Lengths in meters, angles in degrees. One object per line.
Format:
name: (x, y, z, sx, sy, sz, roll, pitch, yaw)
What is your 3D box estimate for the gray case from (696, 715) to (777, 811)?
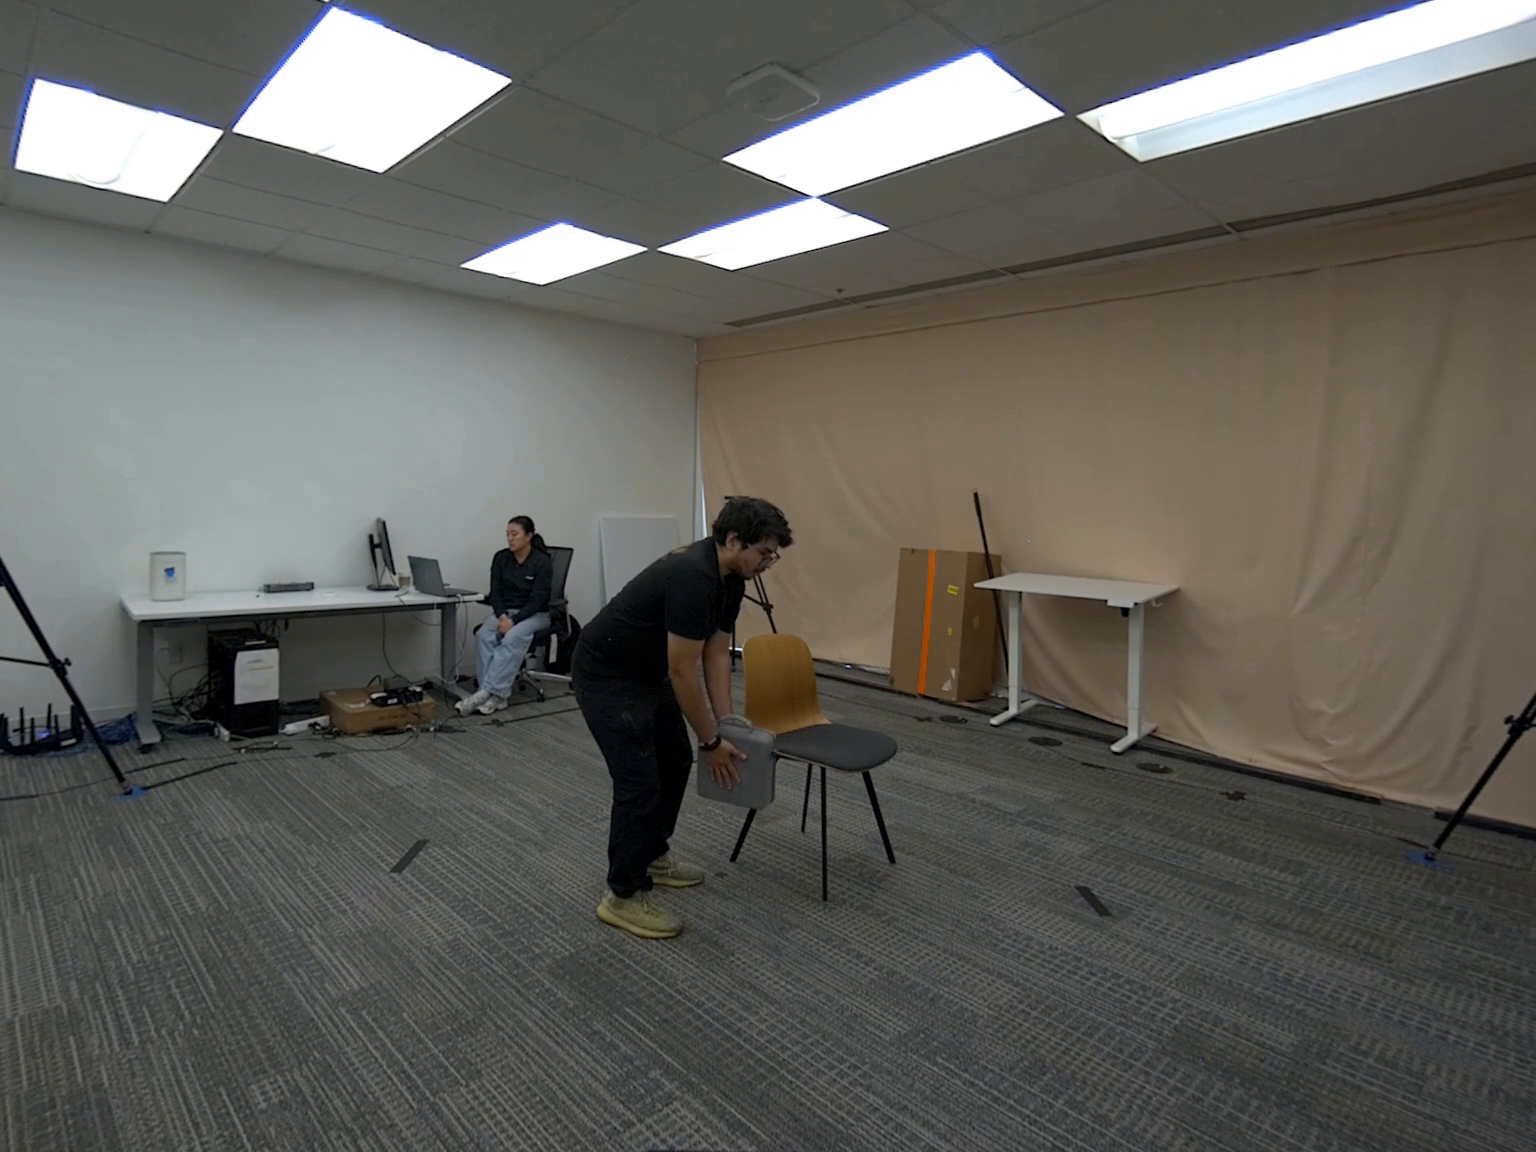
gray case: (-0.109, 0.616, 2.752, 0.261, 0.258, 0.103, 5, 12, 20)
